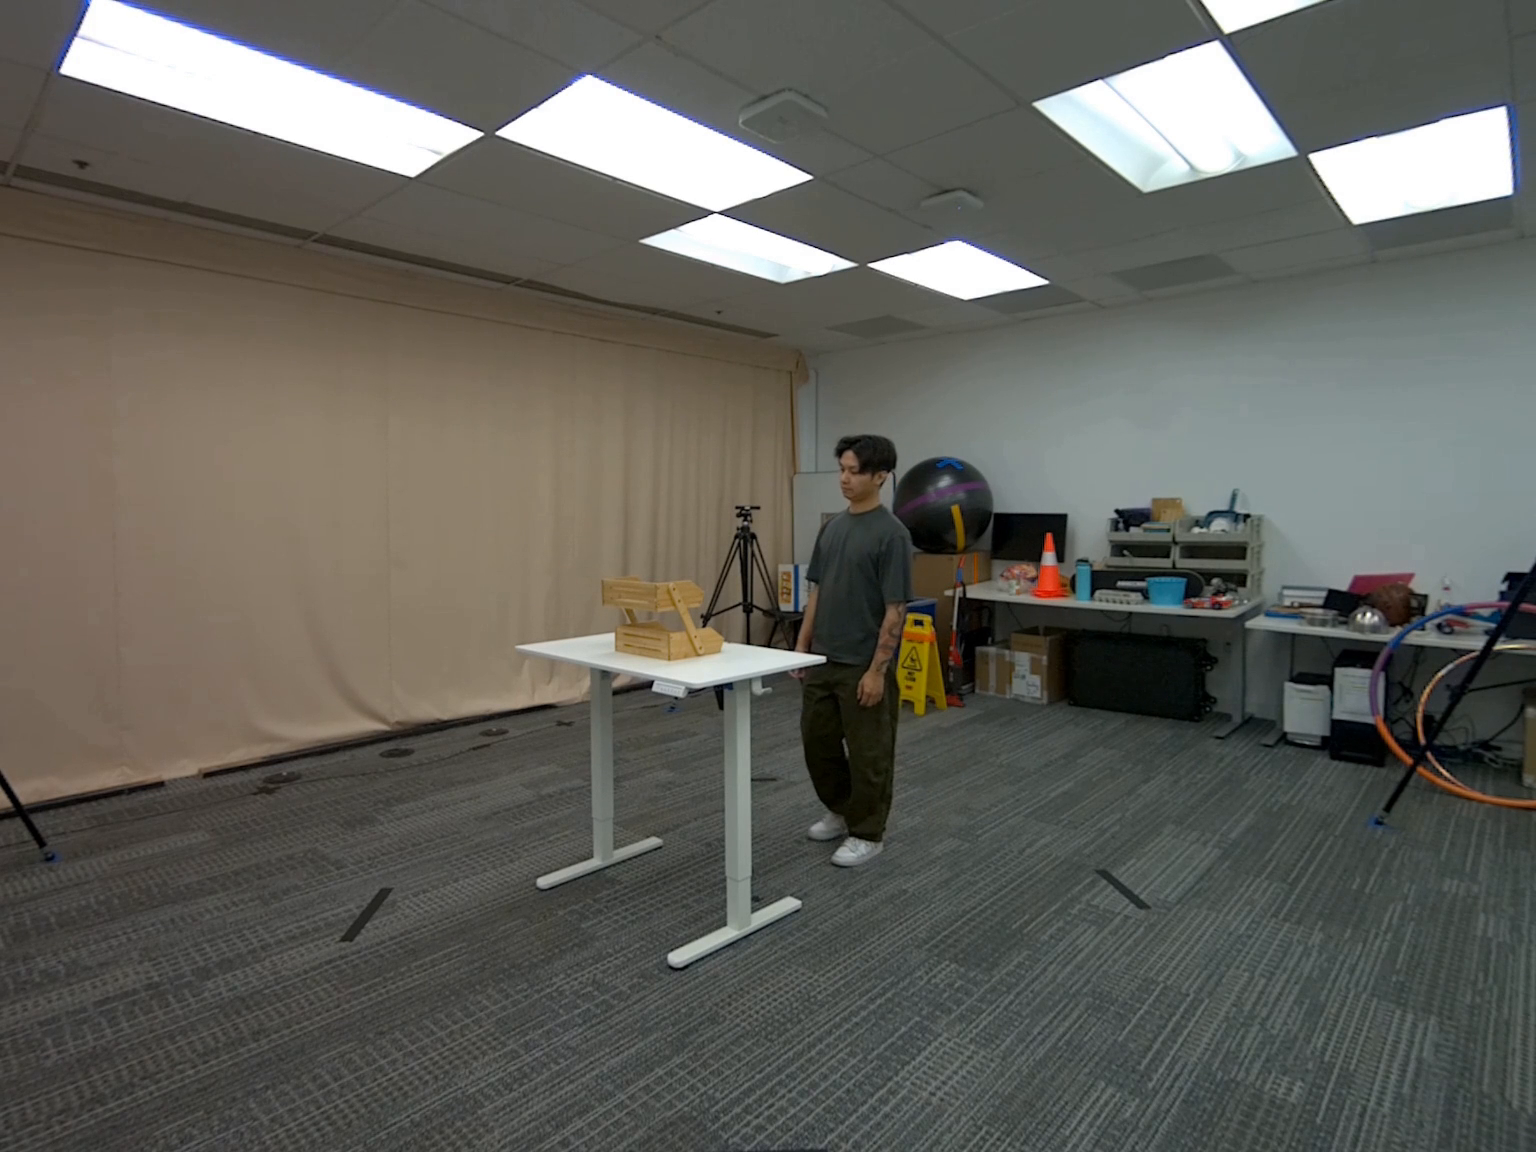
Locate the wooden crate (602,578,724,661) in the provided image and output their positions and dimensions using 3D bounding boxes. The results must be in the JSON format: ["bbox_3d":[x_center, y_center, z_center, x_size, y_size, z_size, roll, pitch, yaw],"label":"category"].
[{"bbox_3d":[-0.364,0.135,2.941,0.335,0.273,0.293,3,5,44],"label":"wooden crate"}]
